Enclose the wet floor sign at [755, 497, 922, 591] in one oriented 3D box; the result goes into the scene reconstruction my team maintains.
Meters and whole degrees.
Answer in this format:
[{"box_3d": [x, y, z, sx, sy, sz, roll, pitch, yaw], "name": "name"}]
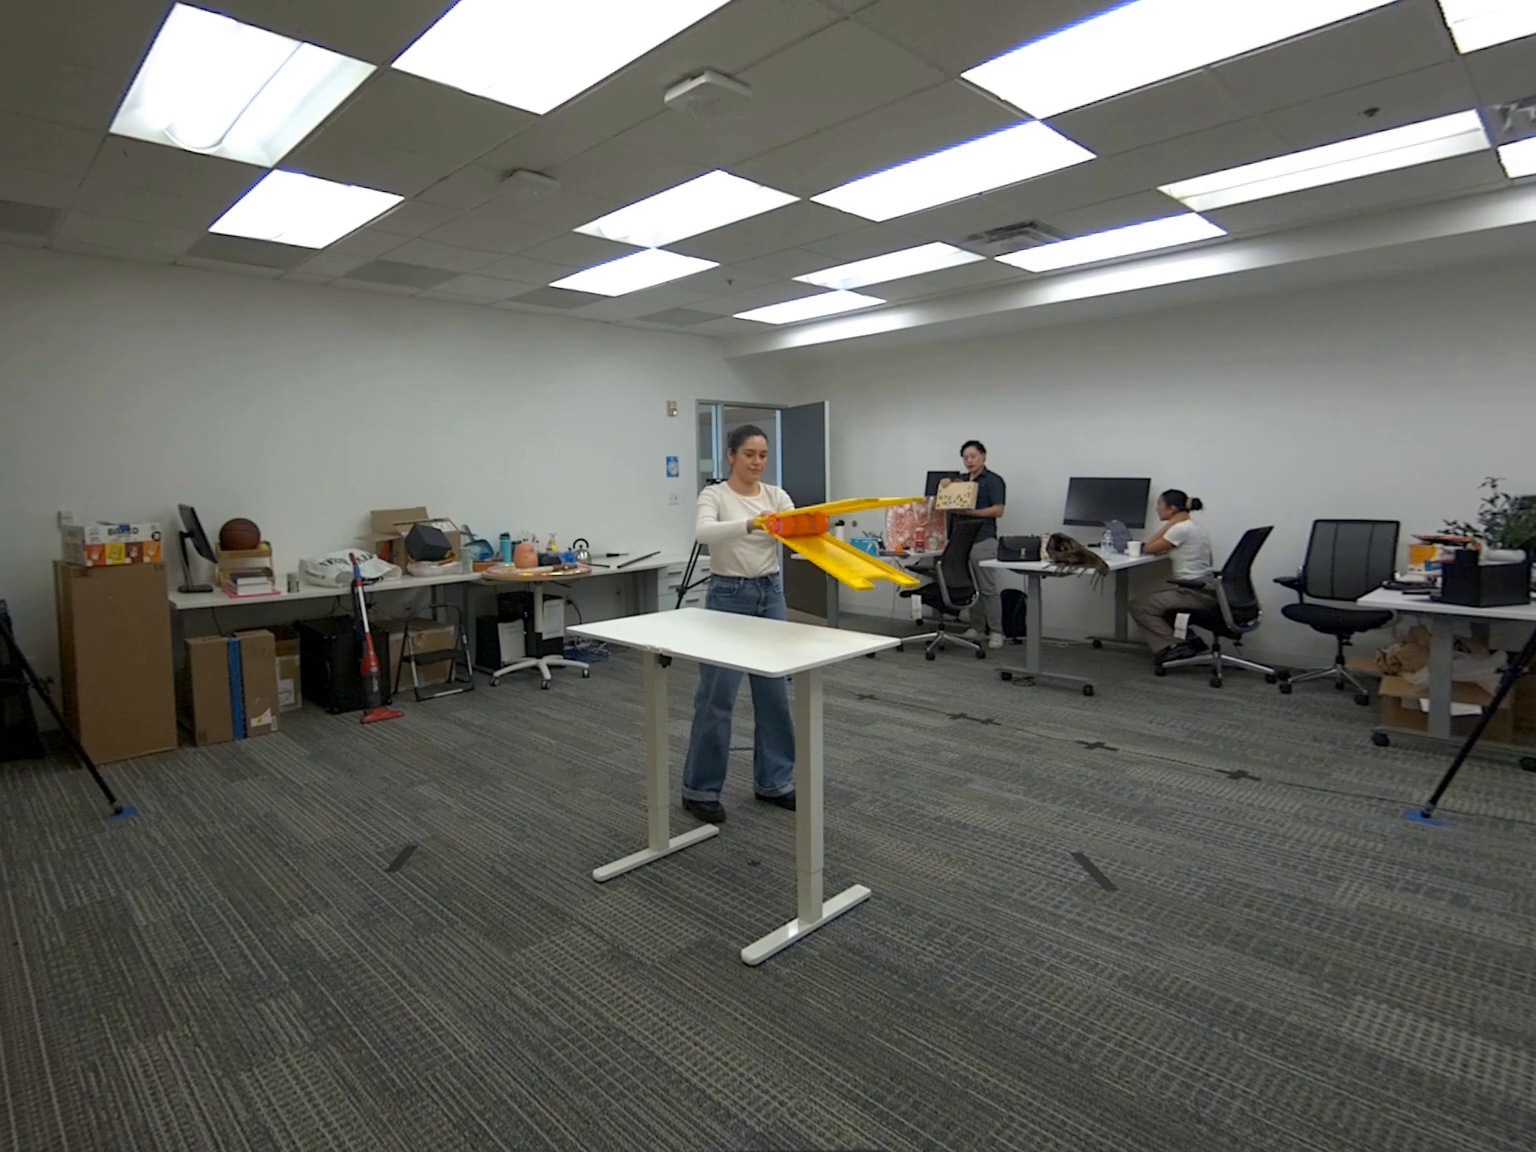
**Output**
[{"box_3d": [0.216, -0.140, 3.003, 0.275, 0.288, 0.667, -2, 10, -34], "name": "wet floor sign"}]
